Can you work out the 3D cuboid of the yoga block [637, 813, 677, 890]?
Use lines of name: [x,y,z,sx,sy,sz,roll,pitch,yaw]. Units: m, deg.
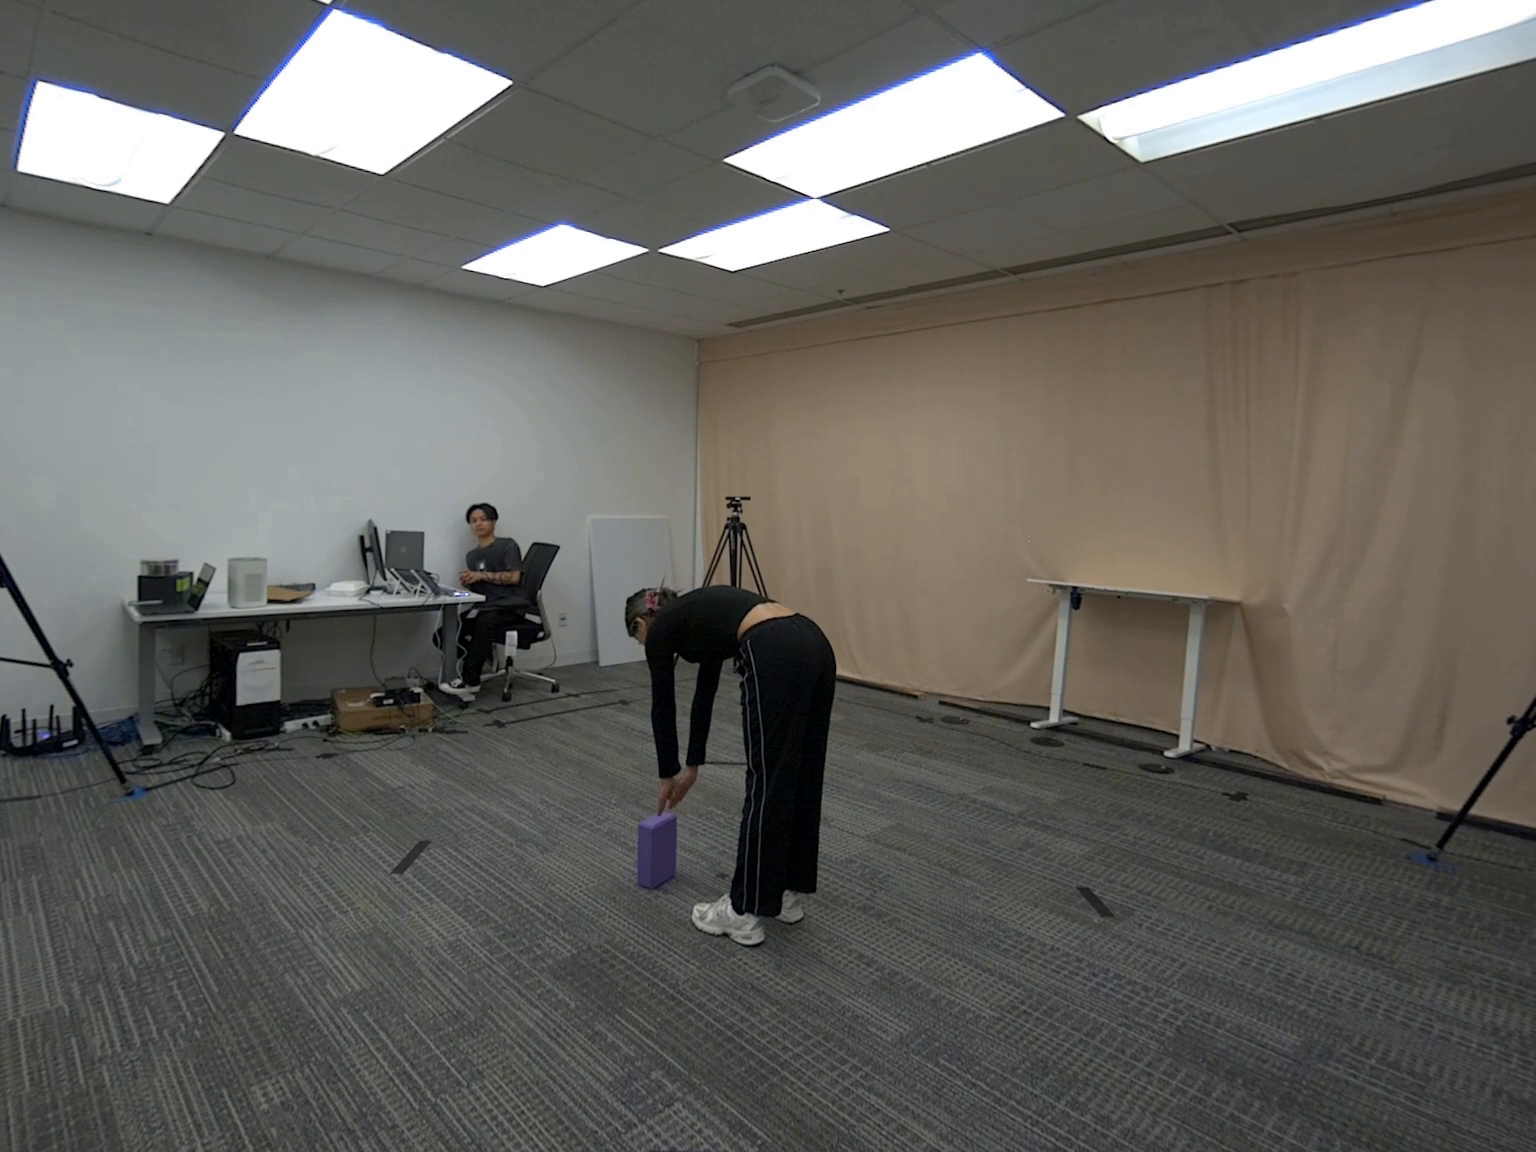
yoga block: [-0.407,0.991,3.043,0.078,0.229,0.146,4,5,29]
